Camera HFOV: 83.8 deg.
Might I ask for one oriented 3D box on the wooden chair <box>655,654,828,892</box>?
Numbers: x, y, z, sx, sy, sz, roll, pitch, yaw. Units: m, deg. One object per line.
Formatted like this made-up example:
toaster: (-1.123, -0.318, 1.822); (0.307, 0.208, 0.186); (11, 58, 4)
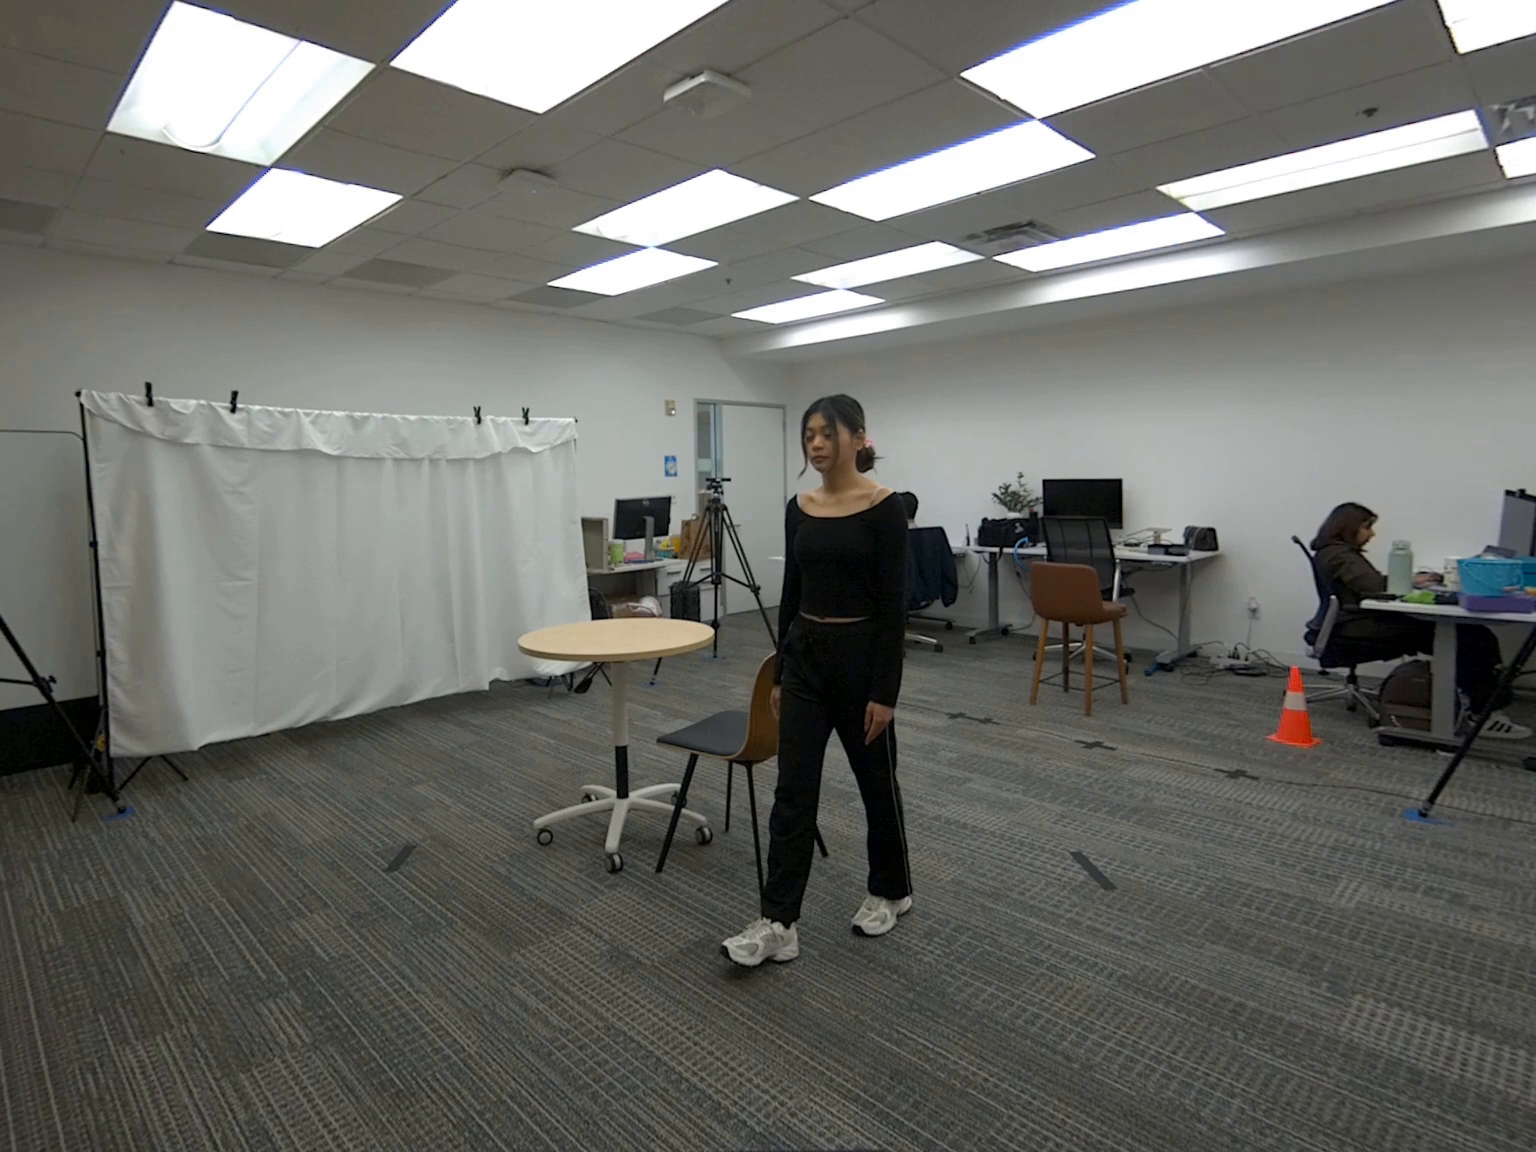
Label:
wooden chair: (-0.100, 0.619, 3.062); (0.539, 0.872, 0.466); (8, 8, 33)
